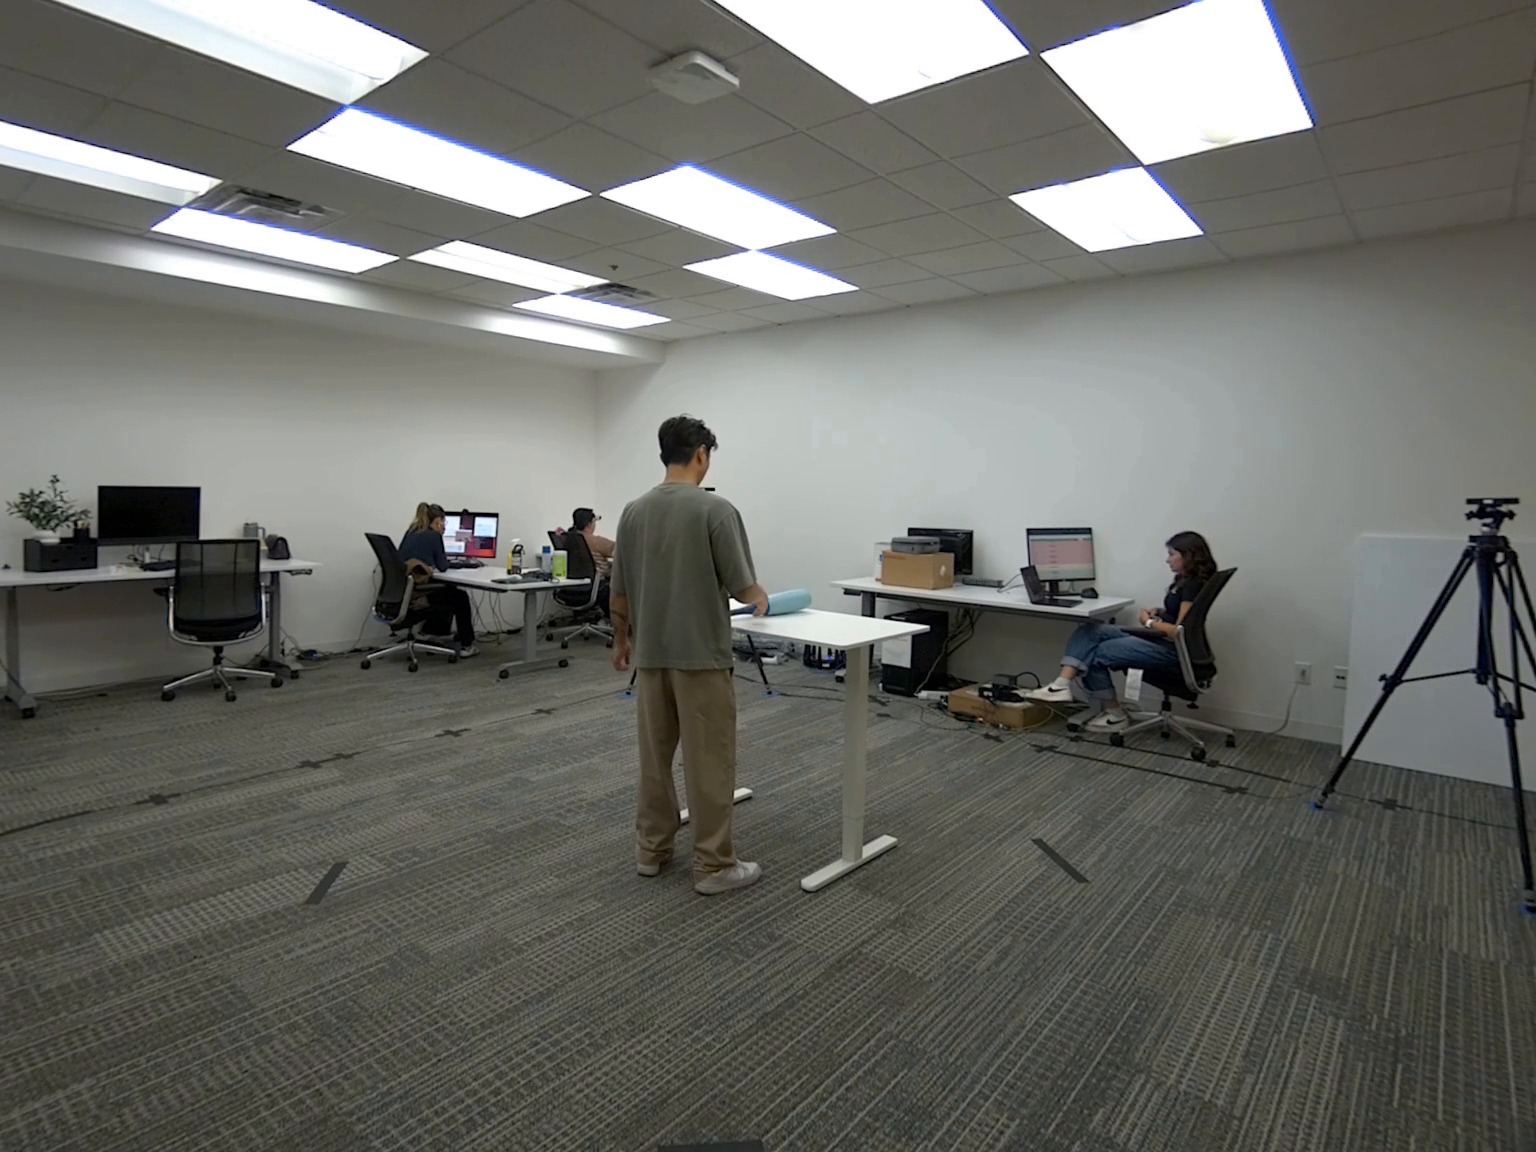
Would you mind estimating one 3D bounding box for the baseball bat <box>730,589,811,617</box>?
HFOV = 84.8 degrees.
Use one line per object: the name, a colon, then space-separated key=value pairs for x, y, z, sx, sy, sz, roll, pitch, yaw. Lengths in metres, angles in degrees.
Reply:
baseball bat: x=-0.038 y=0.125 z=3.393 sx=0.528 sy=0.088 sz=0.092 roll=-10 pitch=11 yaw=-43
